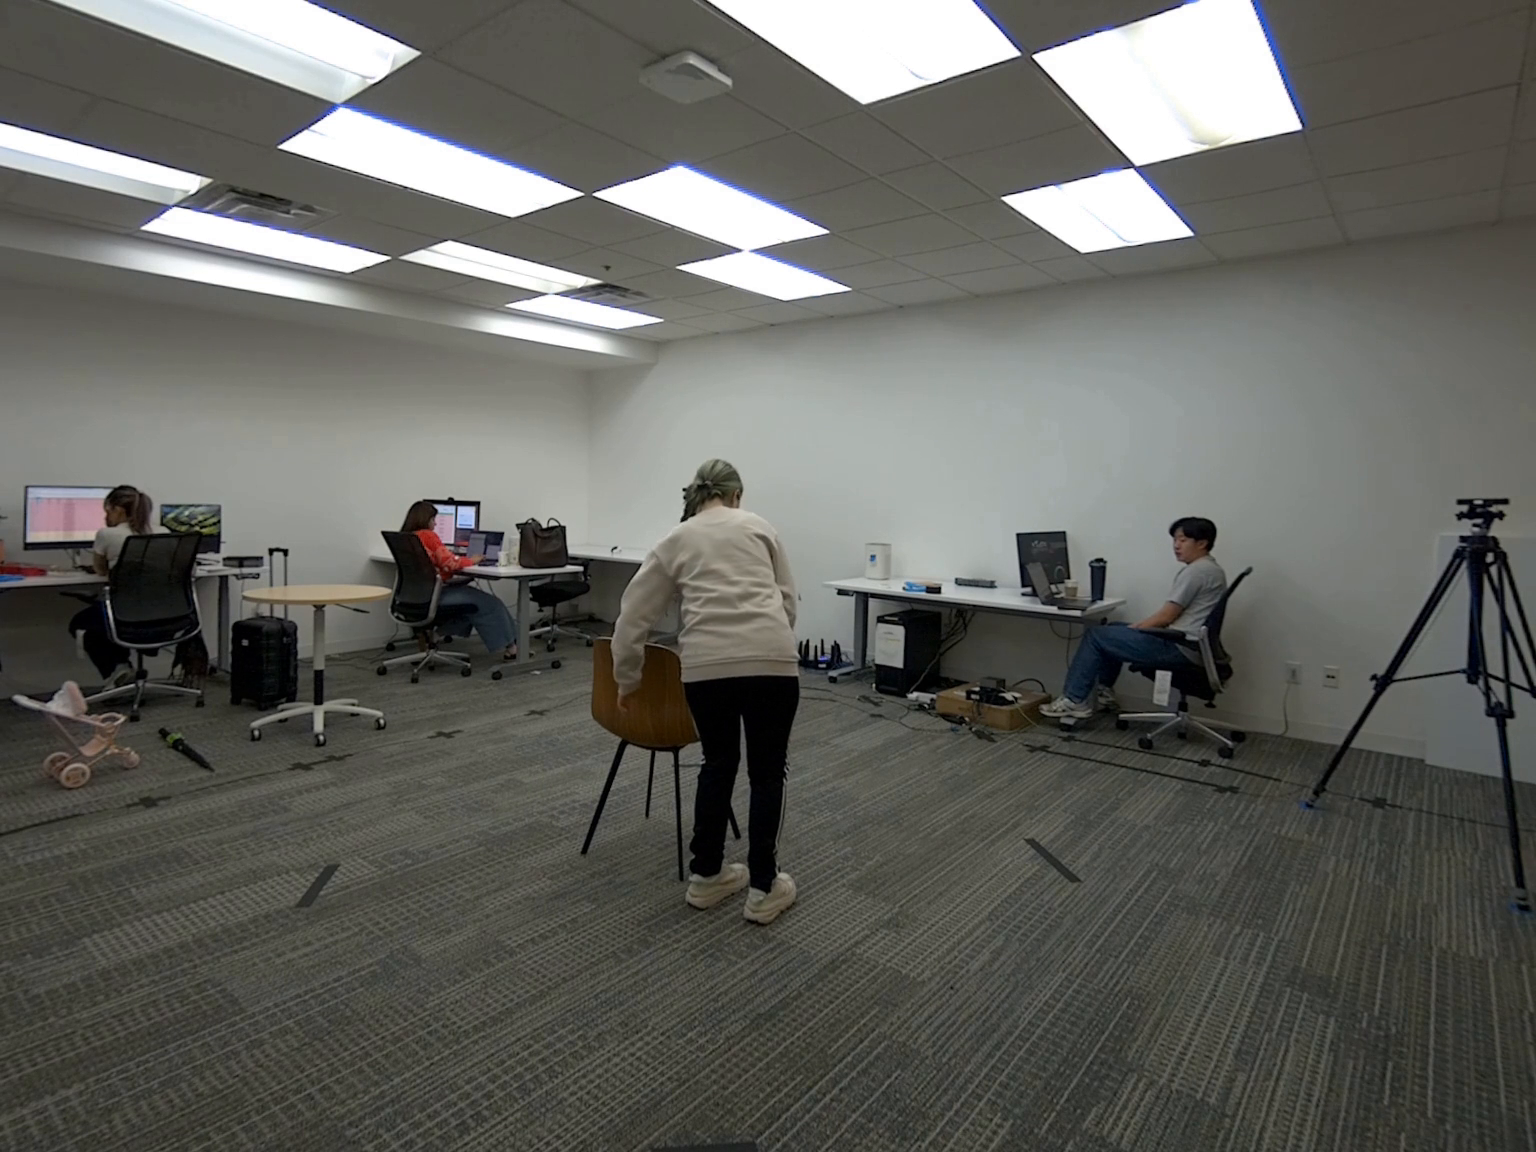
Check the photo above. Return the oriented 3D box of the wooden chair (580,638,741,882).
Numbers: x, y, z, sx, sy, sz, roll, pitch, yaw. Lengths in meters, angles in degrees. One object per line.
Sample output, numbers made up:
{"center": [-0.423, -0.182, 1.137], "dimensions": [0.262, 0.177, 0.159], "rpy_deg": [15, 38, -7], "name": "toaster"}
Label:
{"center": [-0.411, 0.621, 3.290], "dimensions": [0.491, 0.872, 0.512], "rpy_deg": [2, 7, 27], "name": "wooden chair"}
